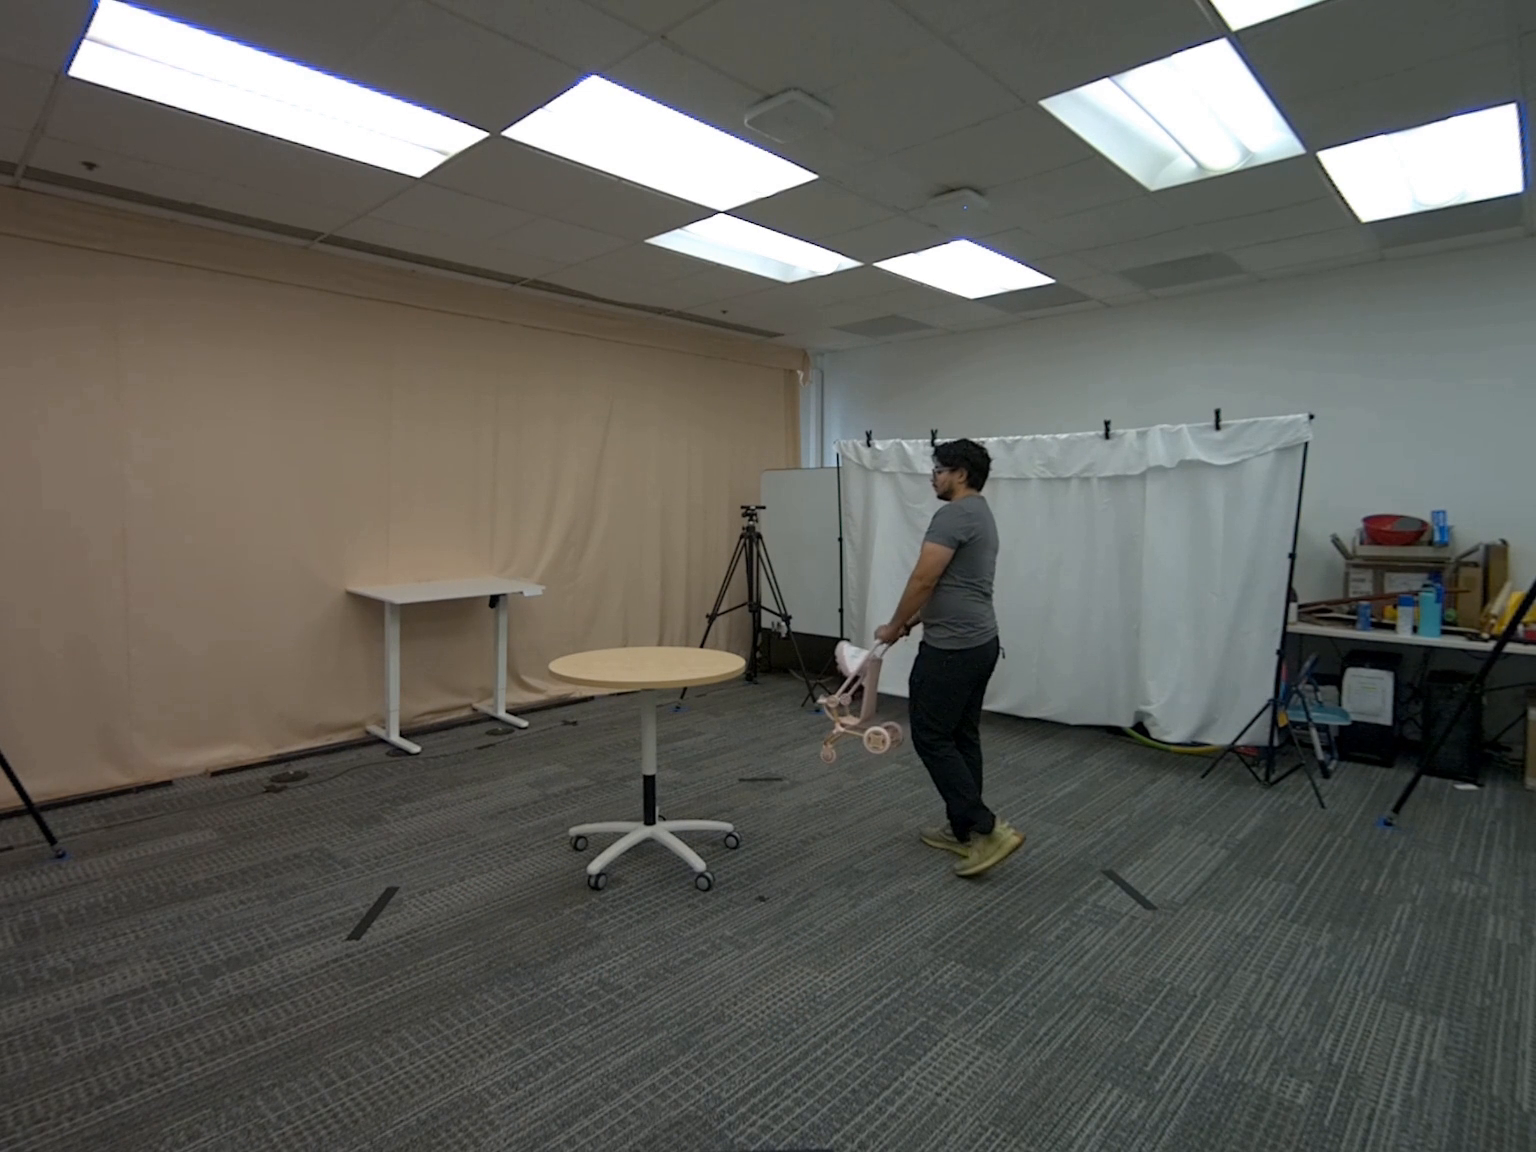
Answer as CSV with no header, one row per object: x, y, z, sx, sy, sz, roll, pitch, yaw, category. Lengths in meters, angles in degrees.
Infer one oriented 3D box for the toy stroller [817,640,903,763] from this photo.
0.373,0.514,3.478,0.350,0.537,0.273,-3,-9,28,toy stroller
